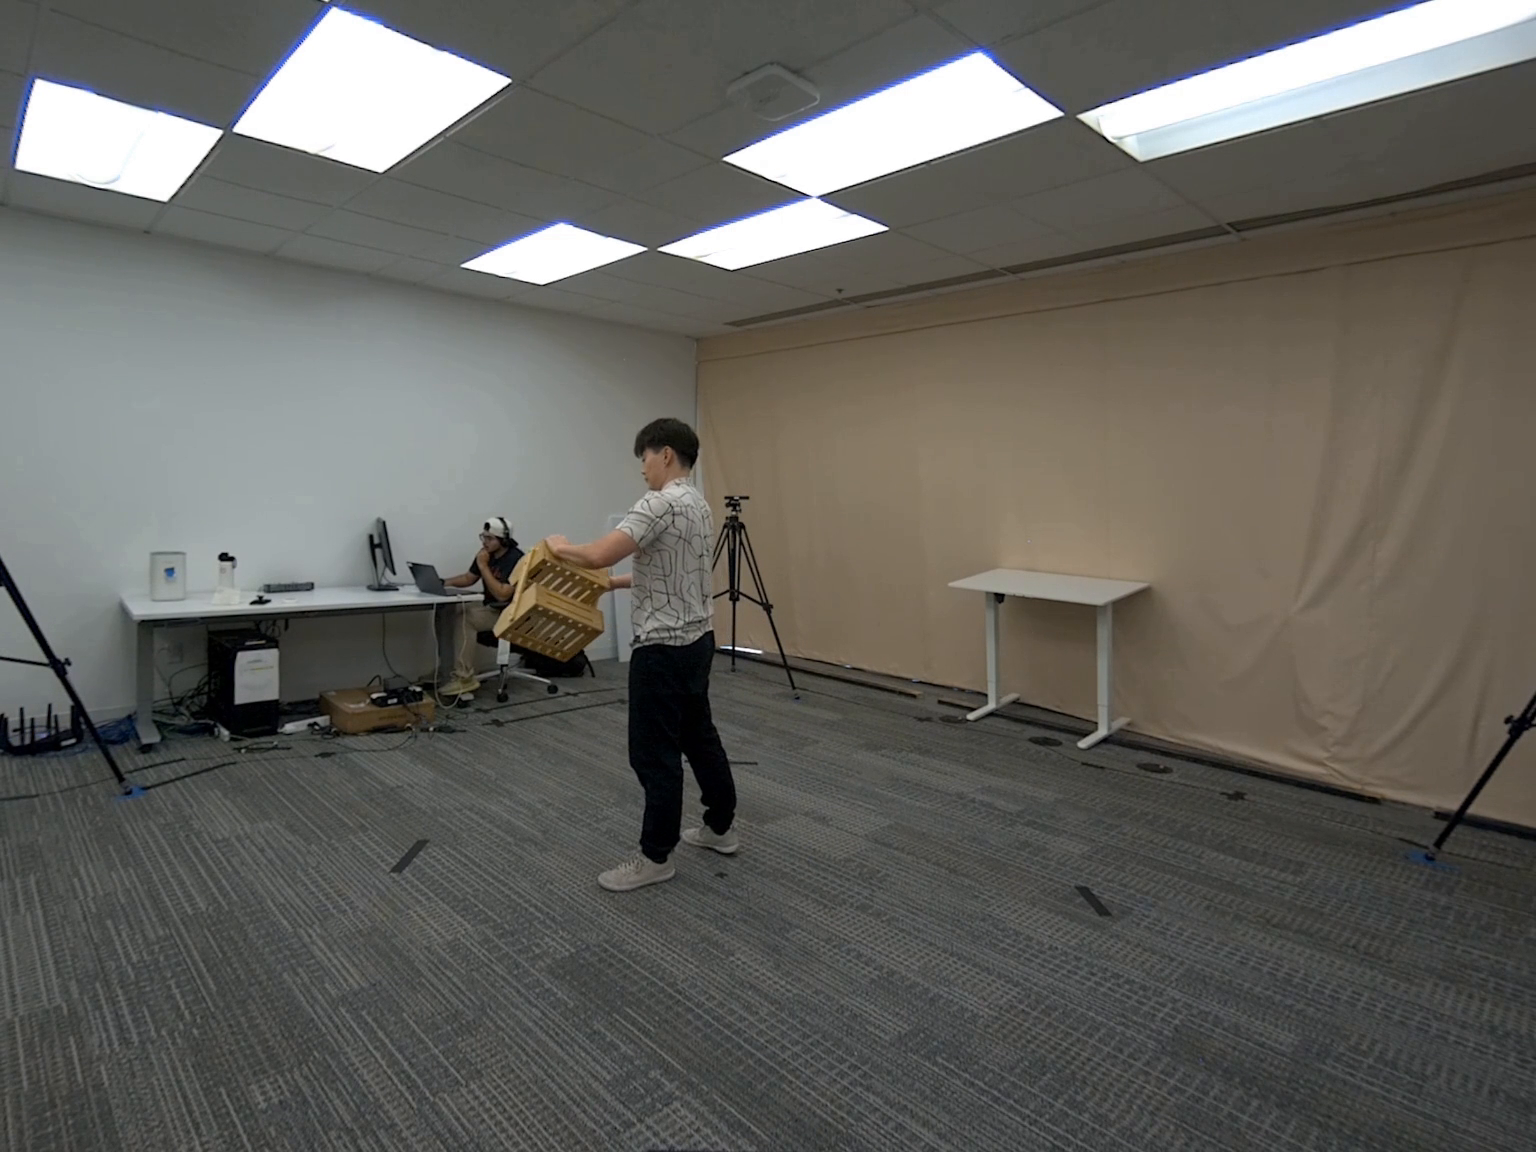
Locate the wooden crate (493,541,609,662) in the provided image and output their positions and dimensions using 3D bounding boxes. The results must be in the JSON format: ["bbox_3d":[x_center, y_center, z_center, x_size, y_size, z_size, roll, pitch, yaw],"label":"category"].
[{"bbox_3d":[-0.783,0.095,3.080,0.303,0.280,0.314,-36,-44,27],"label":"wooden crate"}]
